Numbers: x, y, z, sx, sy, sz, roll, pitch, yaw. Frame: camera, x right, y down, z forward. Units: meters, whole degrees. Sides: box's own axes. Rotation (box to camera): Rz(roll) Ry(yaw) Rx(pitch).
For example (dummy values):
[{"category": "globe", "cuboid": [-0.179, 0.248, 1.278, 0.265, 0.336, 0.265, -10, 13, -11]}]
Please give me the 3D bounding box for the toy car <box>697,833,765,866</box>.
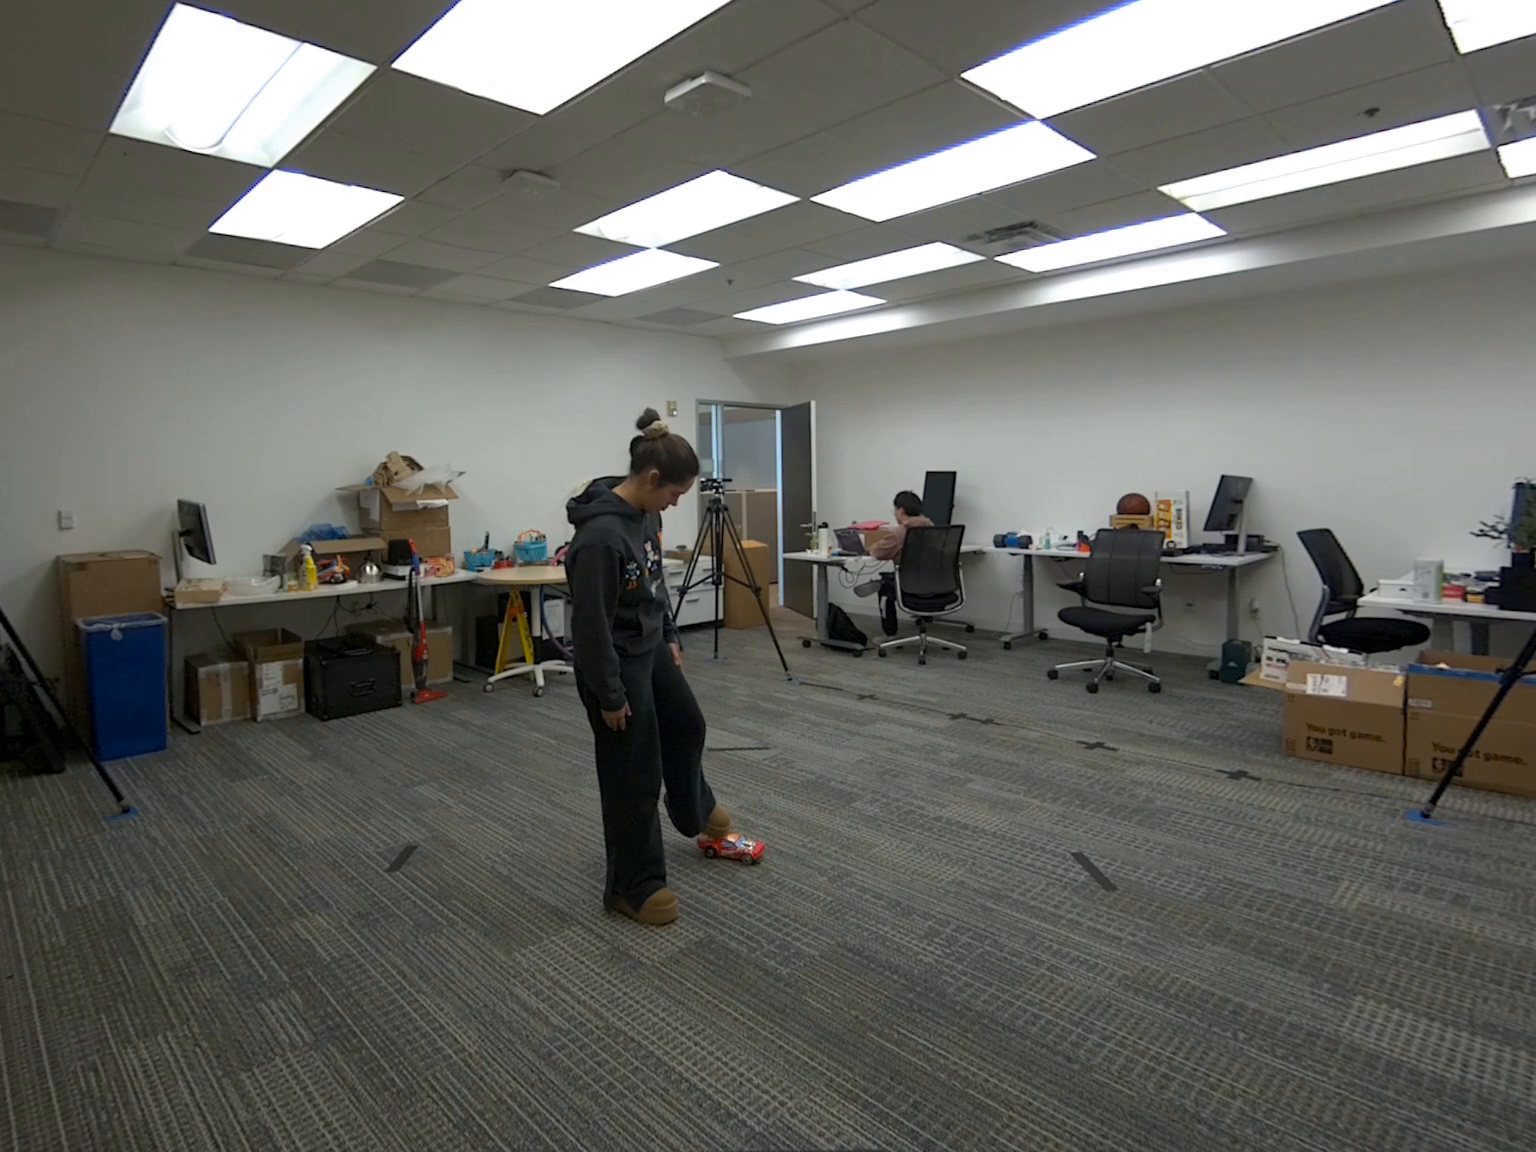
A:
[{"category": "toy car", "cuboid": [-0.138, 1.008, 3.160, 0.261, 0.082, 0.128, 11, 10, 25]}]
